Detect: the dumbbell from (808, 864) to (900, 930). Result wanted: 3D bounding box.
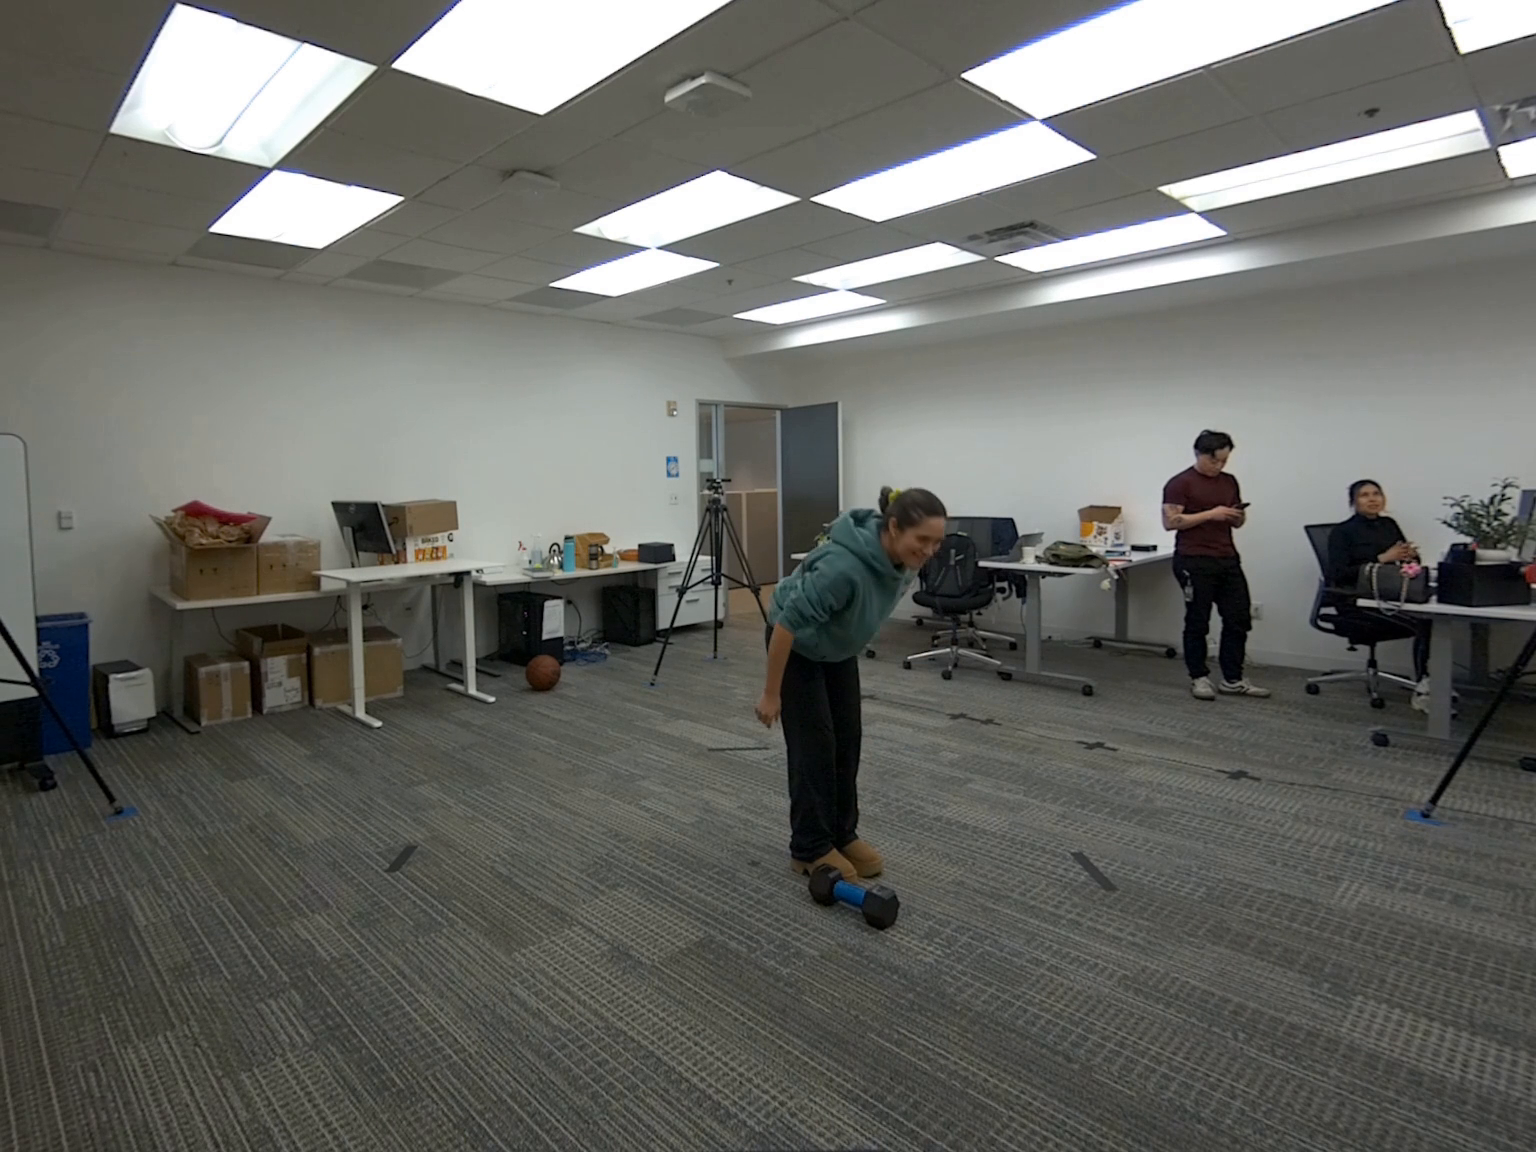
[{"bbox_3d":[0.275,1.033,2.744,0.303,0.119,0.108,5,39,43],"label":"dumbbell"}]
